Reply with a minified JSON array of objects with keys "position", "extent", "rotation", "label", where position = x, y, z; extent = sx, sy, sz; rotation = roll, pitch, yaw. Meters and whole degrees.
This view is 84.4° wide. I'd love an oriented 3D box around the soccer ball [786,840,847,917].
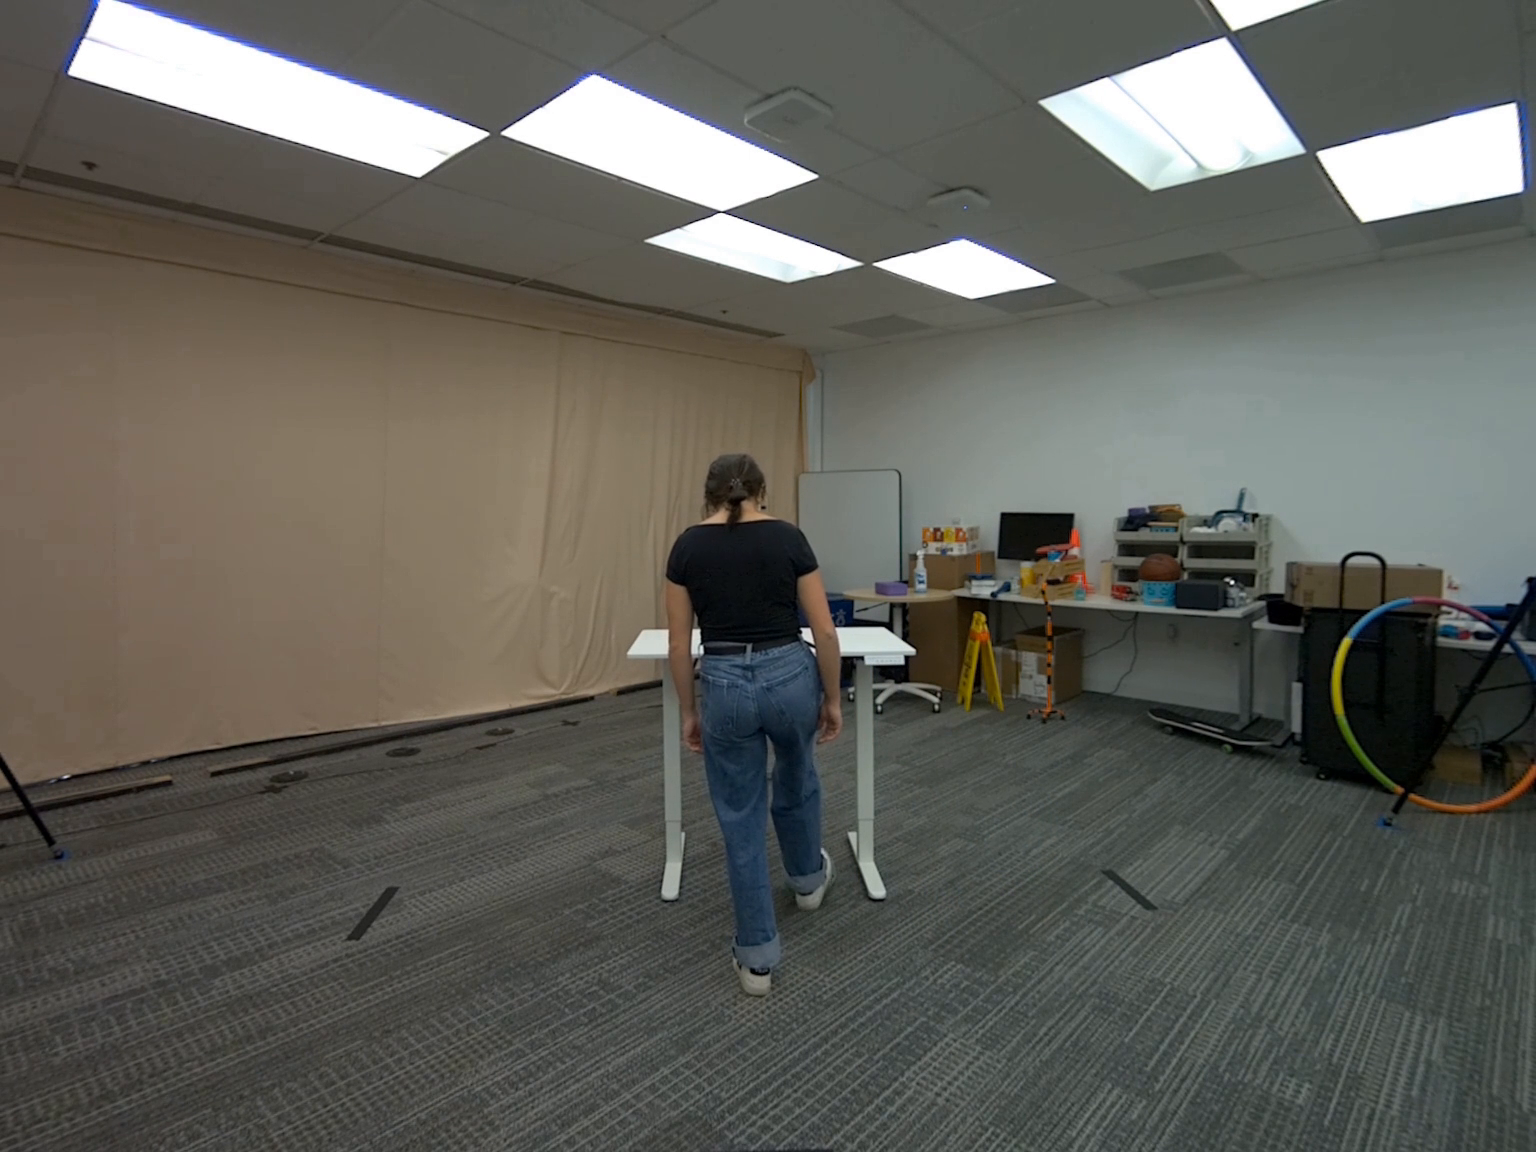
[{"position":[0.166,1.055,2.971],"extent":[0.187,0.187,0.188],"rotation":[0,4,-2],"label":"soccer ball"}]
